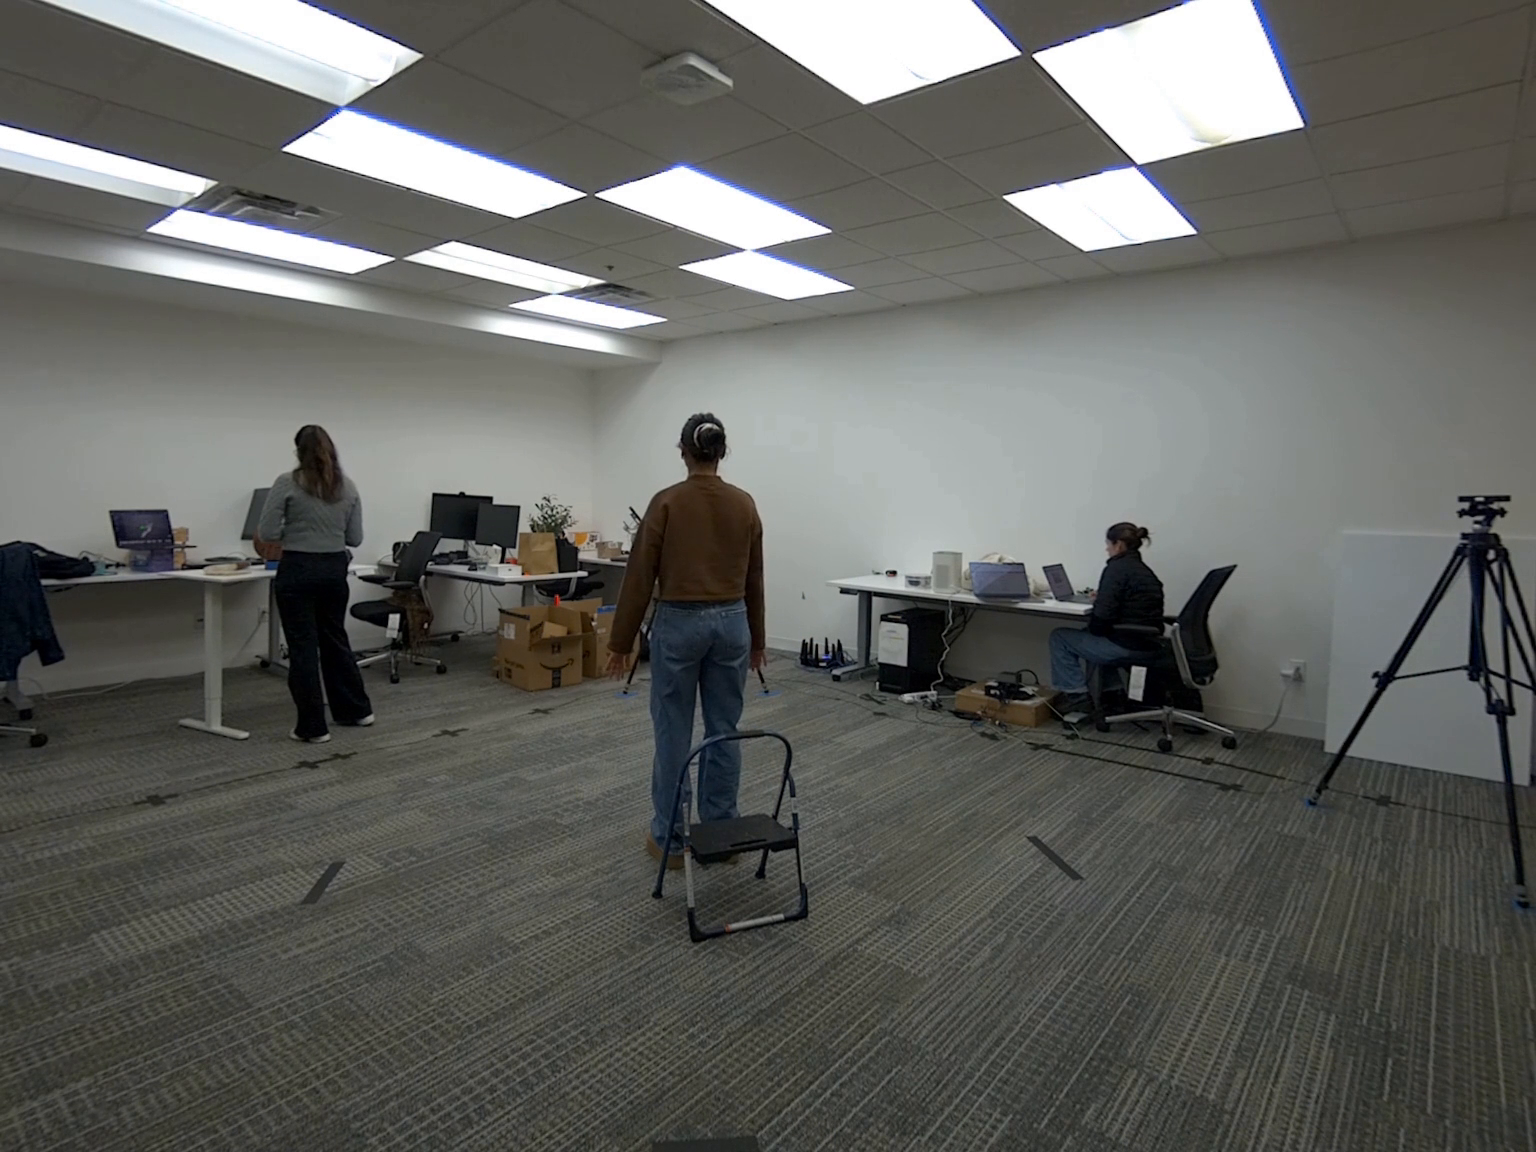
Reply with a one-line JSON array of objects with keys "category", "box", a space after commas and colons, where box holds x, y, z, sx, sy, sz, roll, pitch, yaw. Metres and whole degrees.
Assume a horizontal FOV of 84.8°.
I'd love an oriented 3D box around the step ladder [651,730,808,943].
[{"category": "step ladder", "box": [-0.131, 0.797, 2.818, 0.420, 0.605, 0.359, 0, 3, -27]}]
